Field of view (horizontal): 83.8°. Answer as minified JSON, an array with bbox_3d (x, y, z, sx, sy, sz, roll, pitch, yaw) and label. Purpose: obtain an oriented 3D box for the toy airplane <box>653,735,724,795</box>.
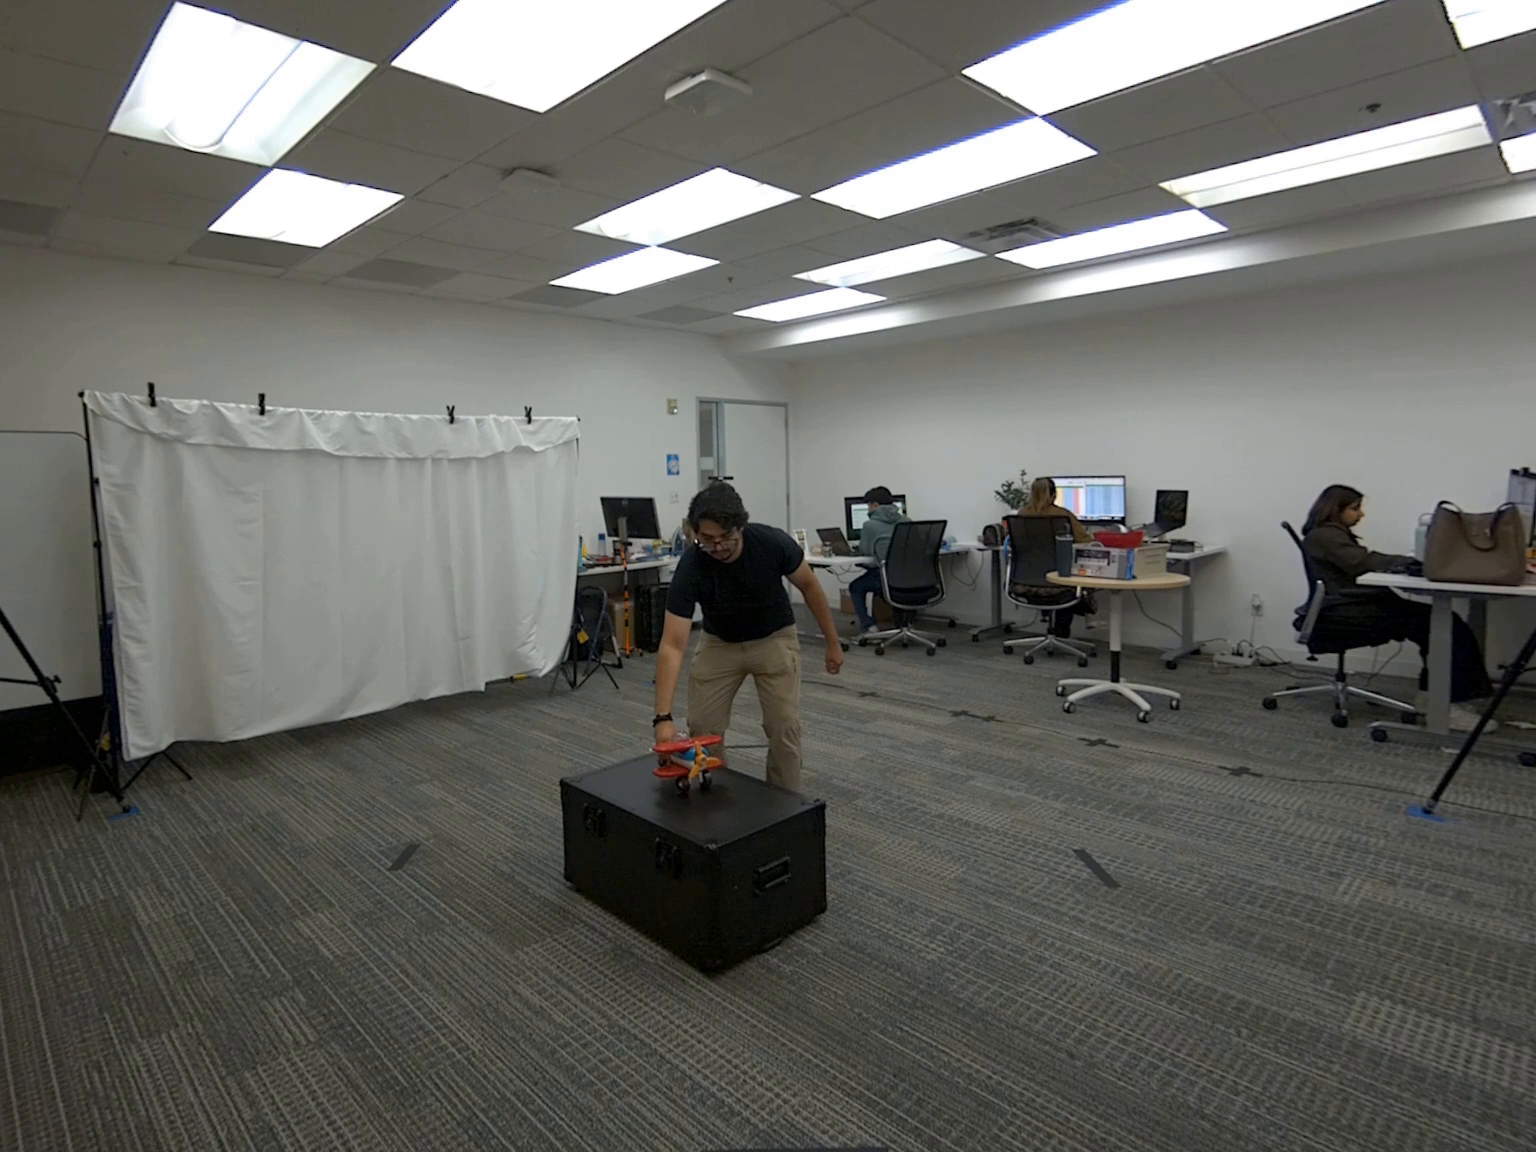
[{"bbox_3d":[-0.301,0.607,2.857,0.266,0.155,0.246,13,14,26],"label":"toy airplane"}]
